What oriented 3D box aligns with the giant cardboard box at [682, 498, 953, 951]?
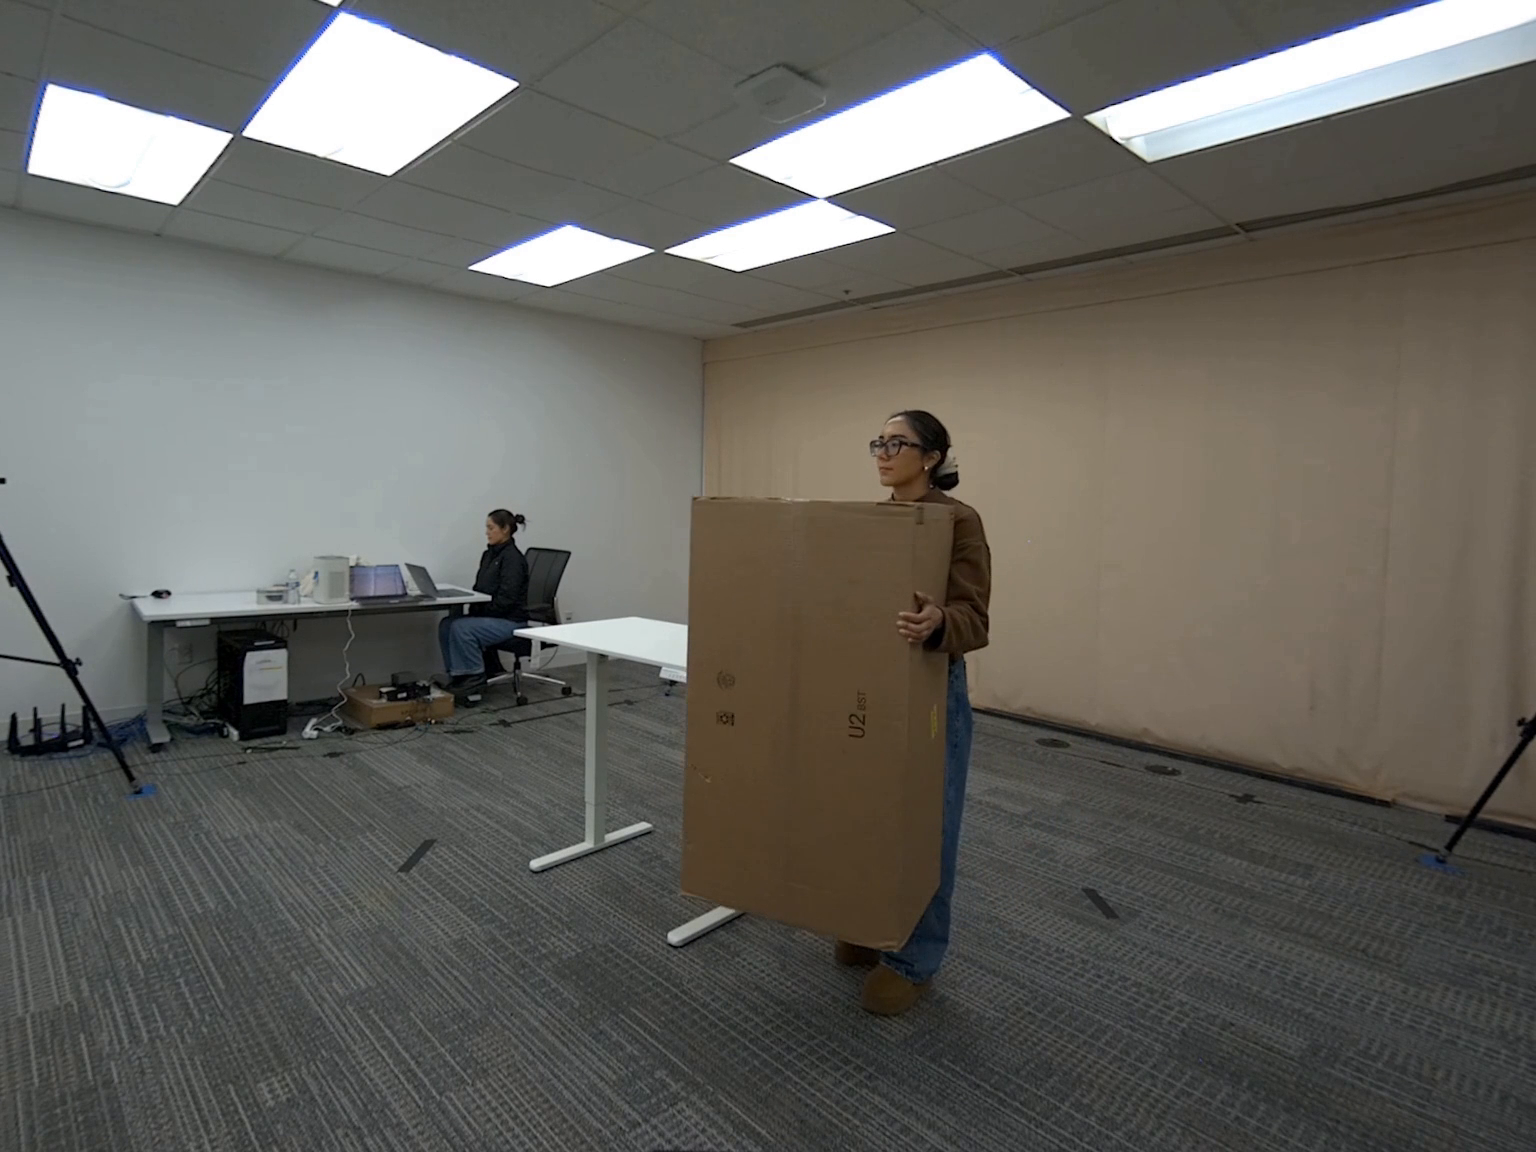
[{"bbox_3d":[0.127,0.318,2.190,0.589,1.024,0.419,3,3,26],"label":"giant cardboard box"}]
